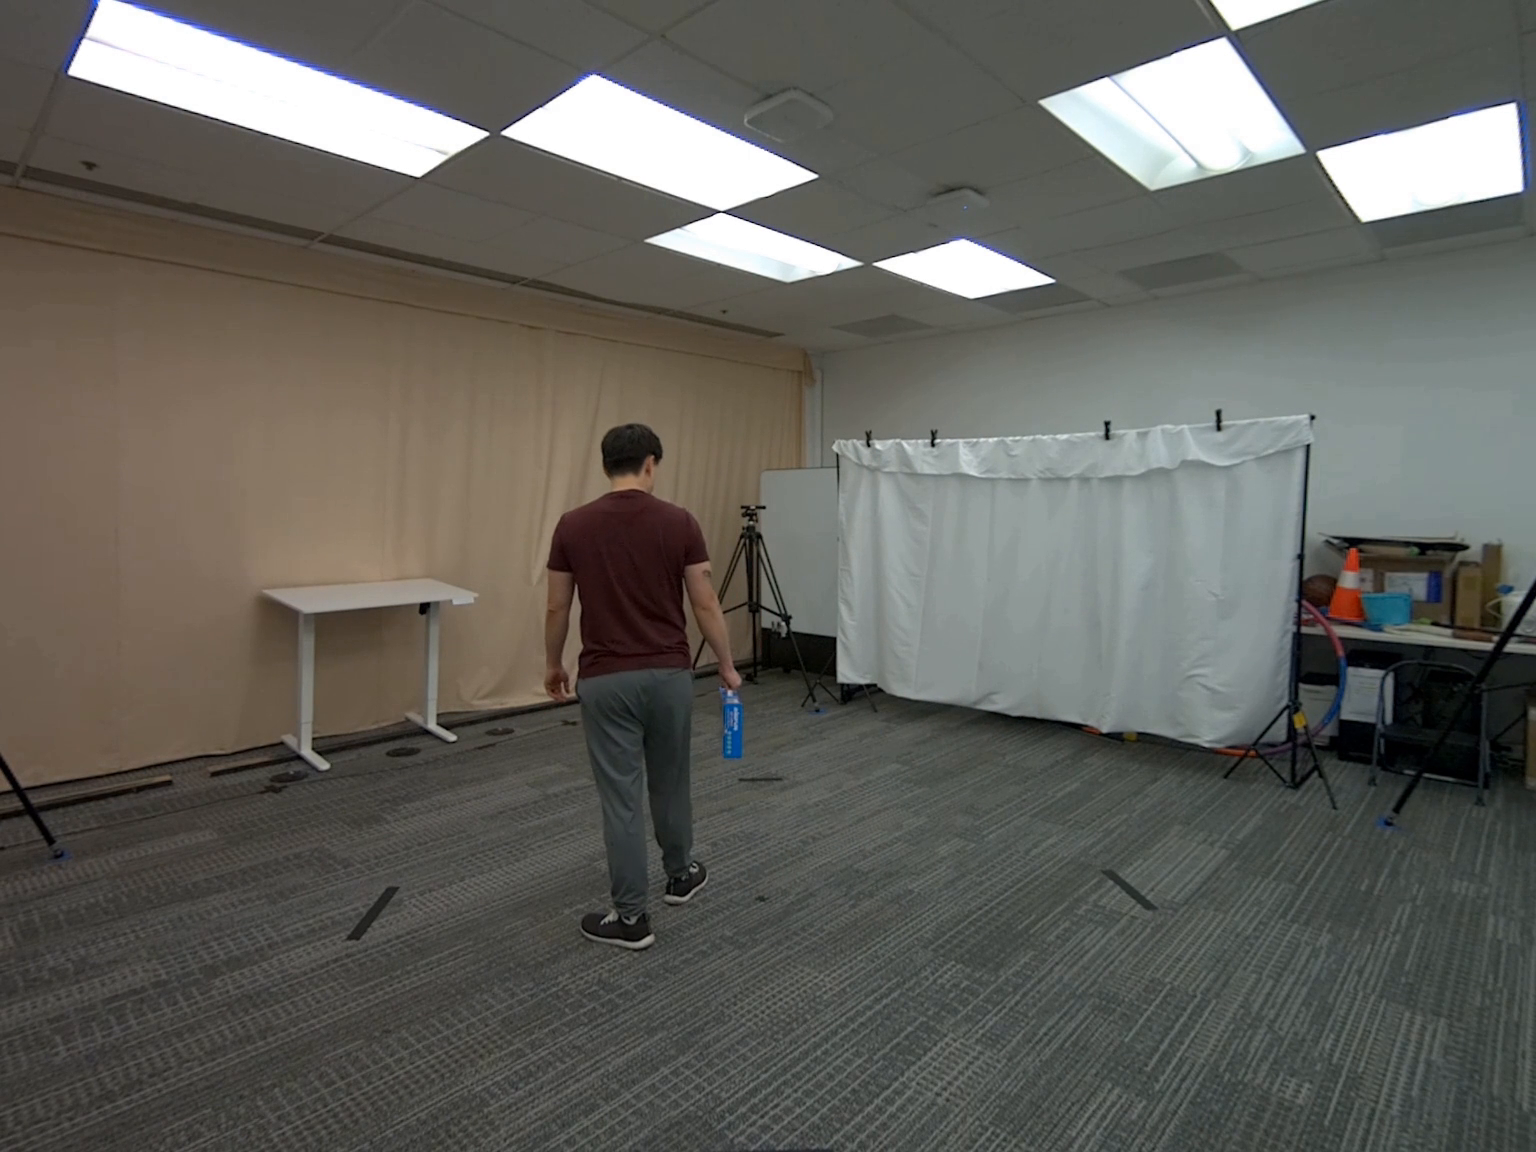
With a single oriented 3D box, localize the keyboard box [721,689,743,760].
[{"bbox_3d":[-0.126,0.487,2.883,0.059,0.176,0.438,0,0,-6],"label":"keyboard box"}]
